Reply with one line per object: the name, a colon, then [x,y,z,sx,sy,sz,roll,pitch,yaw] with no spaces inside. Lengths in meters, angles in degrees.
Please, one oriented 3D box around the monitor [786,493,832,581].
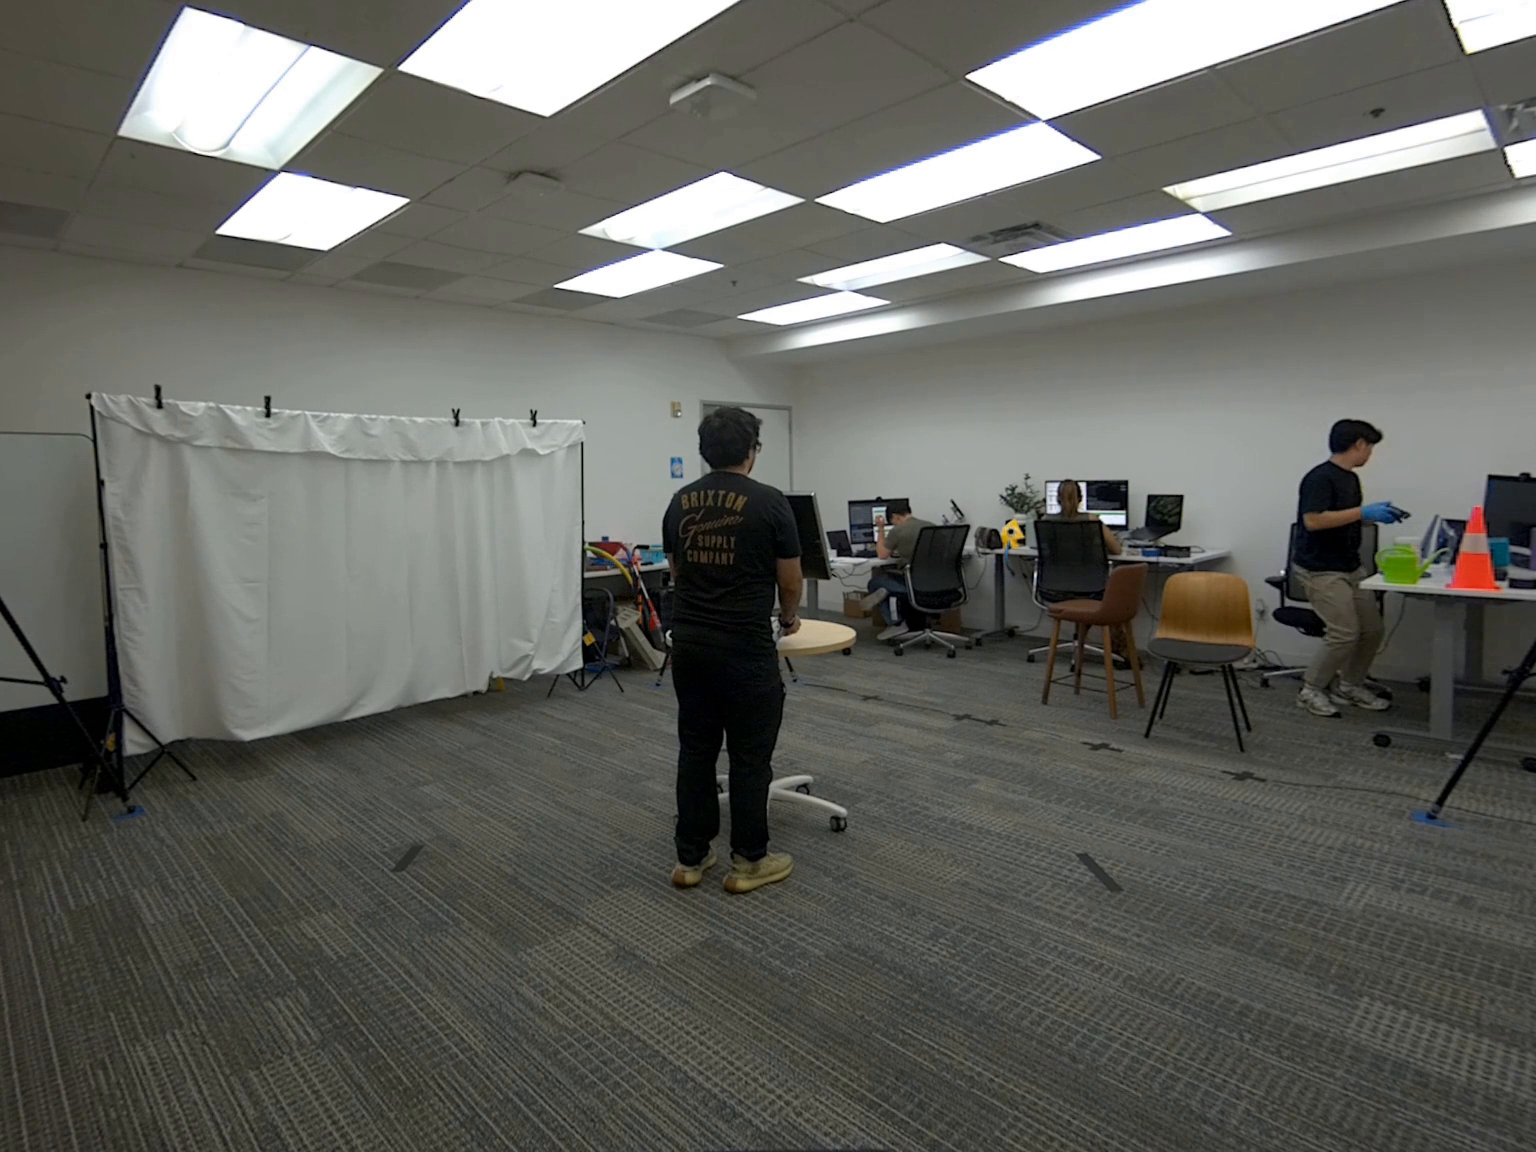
monitor: [-0.060,-0.037,3.125,0.579,0.541,0.210,3,28,27]
